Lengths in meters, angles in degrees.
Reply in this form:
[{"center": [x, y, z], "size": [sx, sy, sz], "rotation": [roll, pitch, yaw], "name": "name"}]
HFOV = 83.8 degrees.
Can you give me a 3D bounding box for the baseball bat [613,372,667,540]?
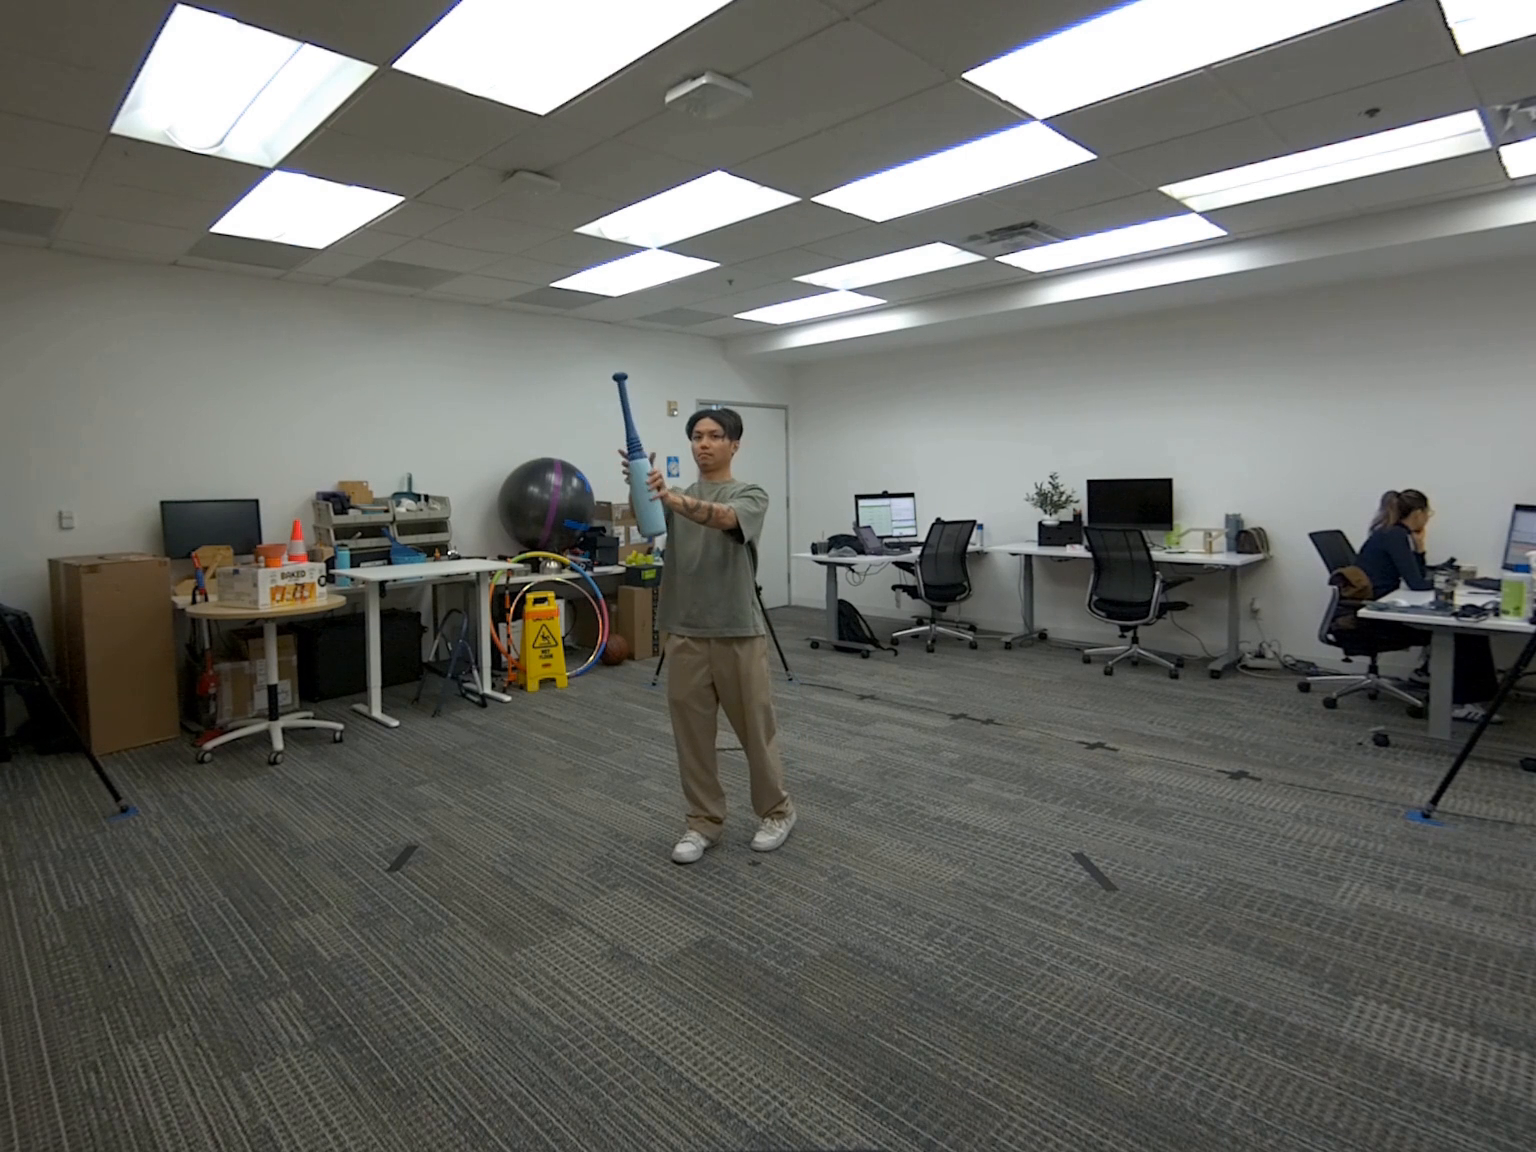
[{"center": [-0.424, -0.392, 2.743], "size": [0.089, 0.544, 0.089], "rotation": [-11, -1, -2], "name": "baseball bat"}]
